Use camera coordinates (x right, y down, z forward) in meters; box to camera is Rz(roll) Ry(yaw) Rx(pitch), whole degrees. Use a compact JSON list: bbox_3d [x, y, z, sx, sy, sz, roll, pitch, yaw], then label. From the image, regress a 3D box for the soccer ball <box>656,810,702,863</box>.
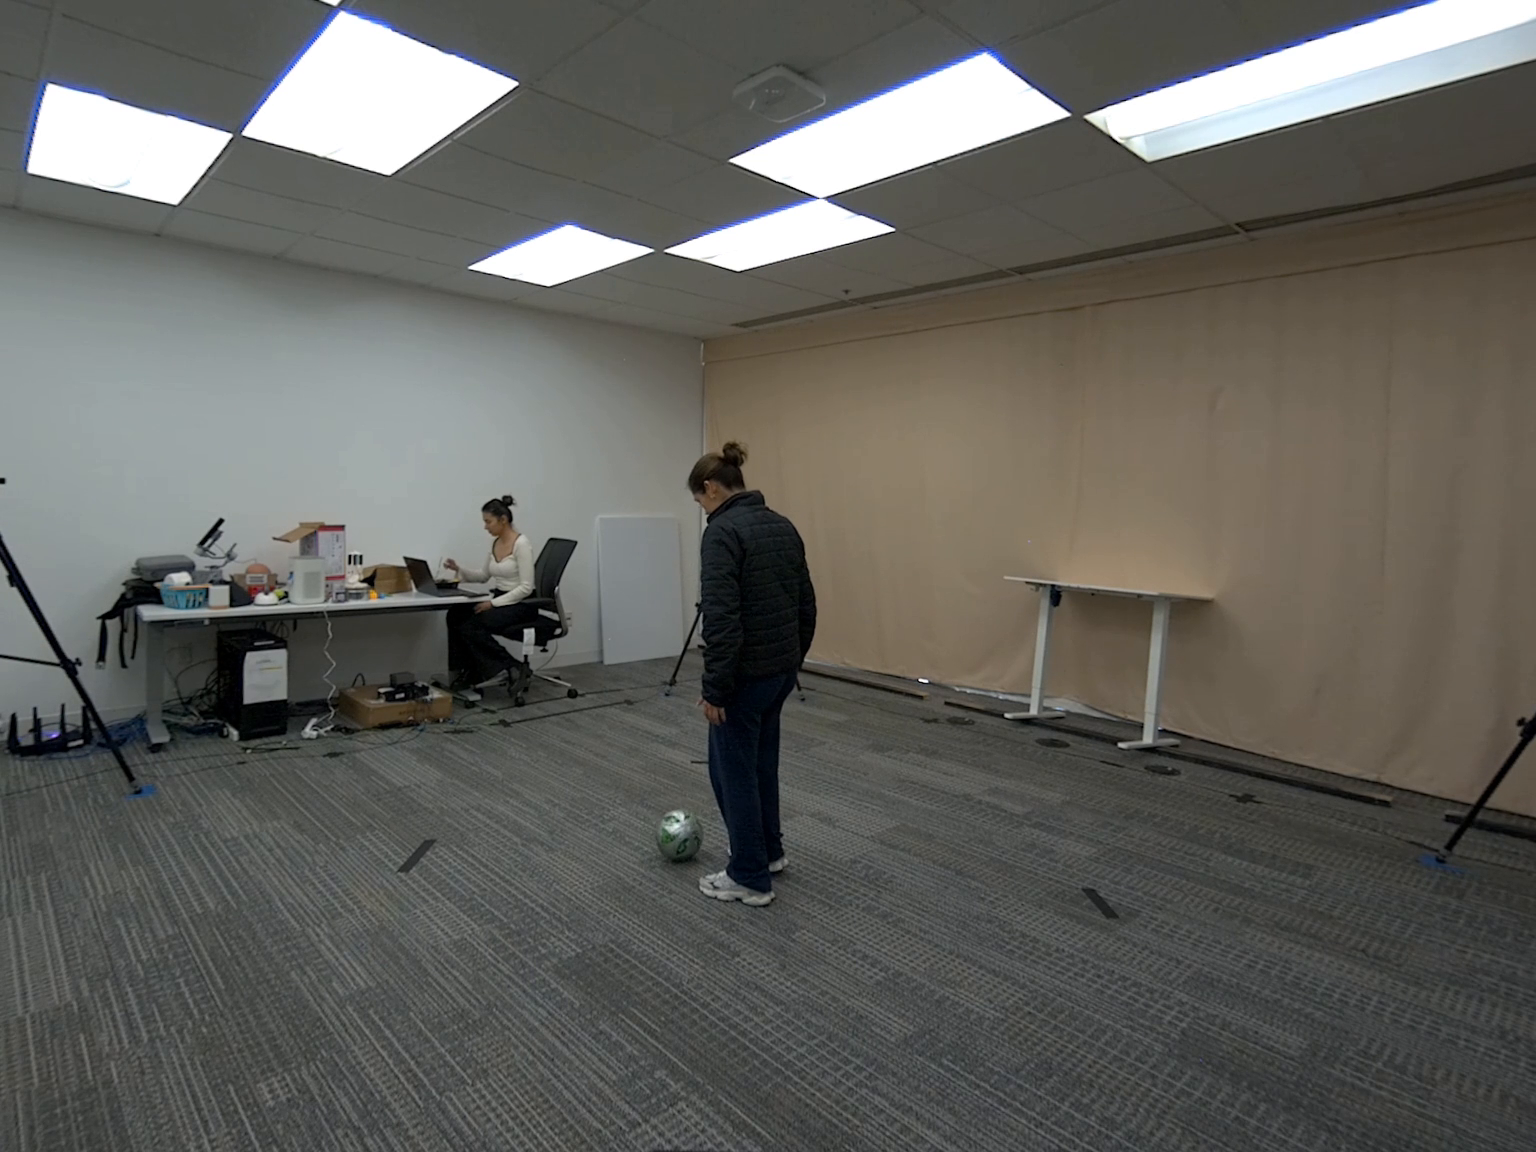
[{"bbox_3d":[-0.345,0.991,3.234,0.187,0.187,0.188,1,4,-1],"label":"soccer ball"}]
